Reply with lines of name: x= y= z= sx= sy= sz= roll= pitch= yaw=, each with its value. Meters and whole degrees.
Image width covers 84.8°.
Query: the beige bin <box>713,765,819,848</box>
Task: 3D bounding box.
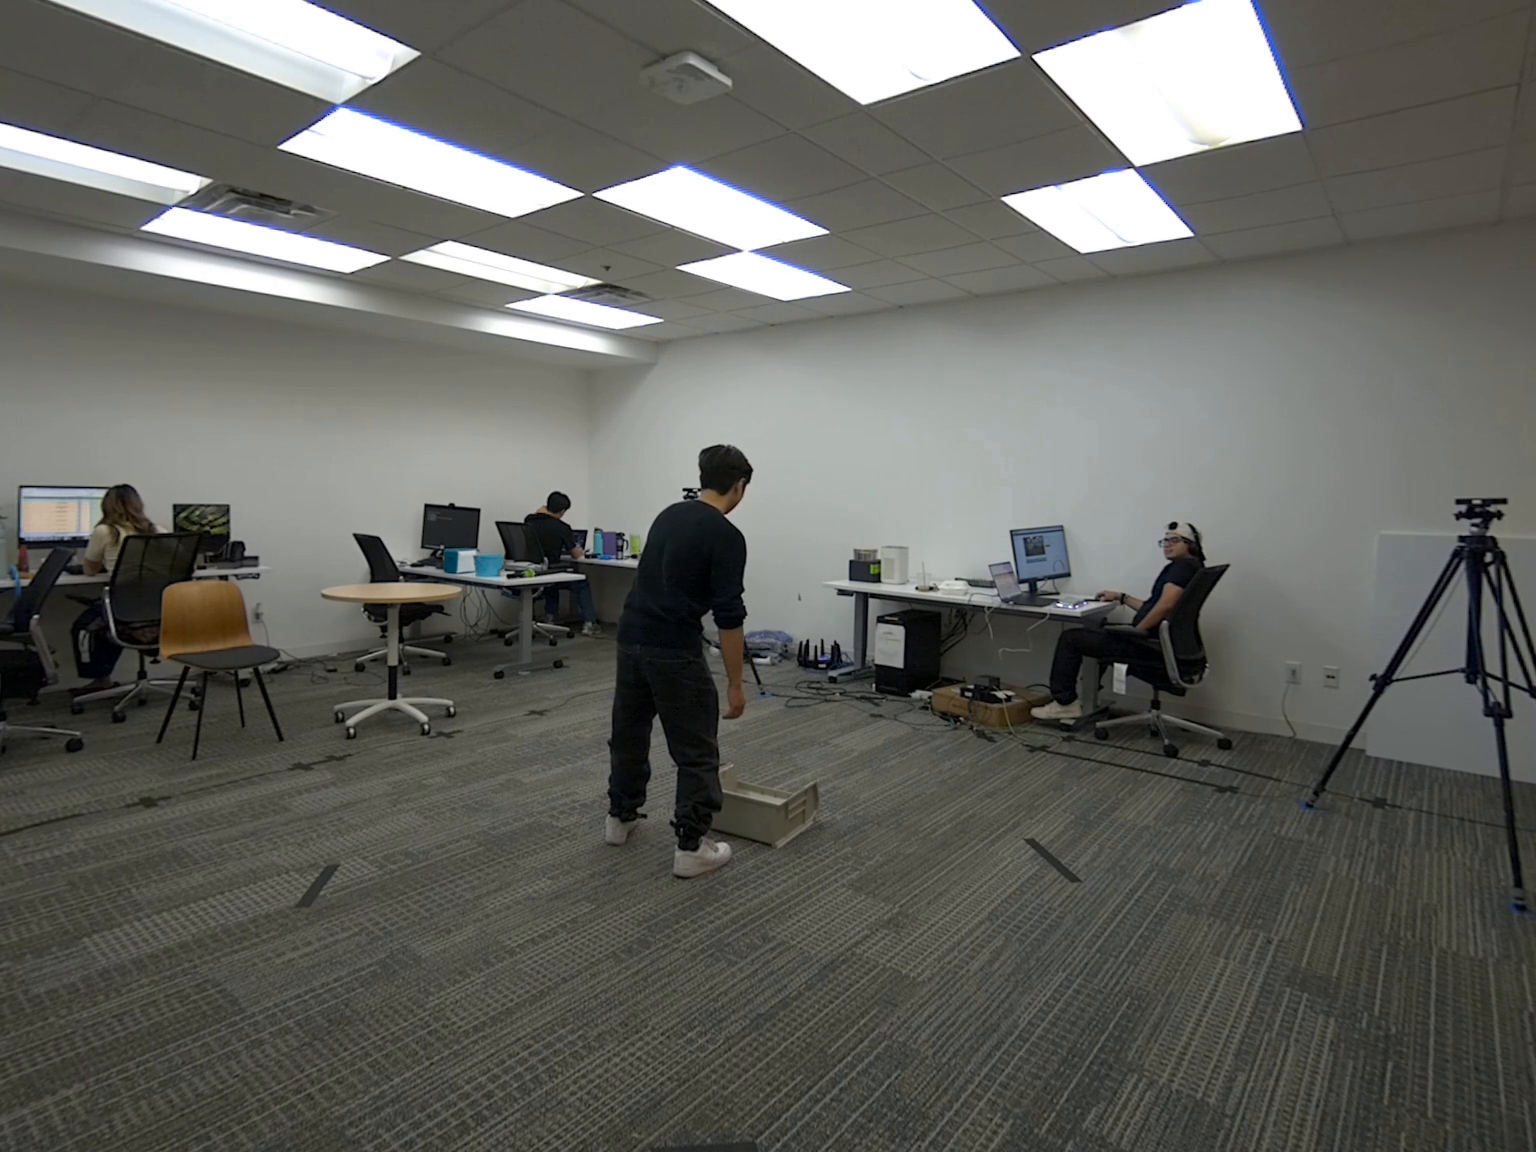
beige bin: x=-0.059 y=0.941 z=3.554 sx=0.435 sy=0.188 sz=0.368 roll=4 pitch=7 yaw=30
